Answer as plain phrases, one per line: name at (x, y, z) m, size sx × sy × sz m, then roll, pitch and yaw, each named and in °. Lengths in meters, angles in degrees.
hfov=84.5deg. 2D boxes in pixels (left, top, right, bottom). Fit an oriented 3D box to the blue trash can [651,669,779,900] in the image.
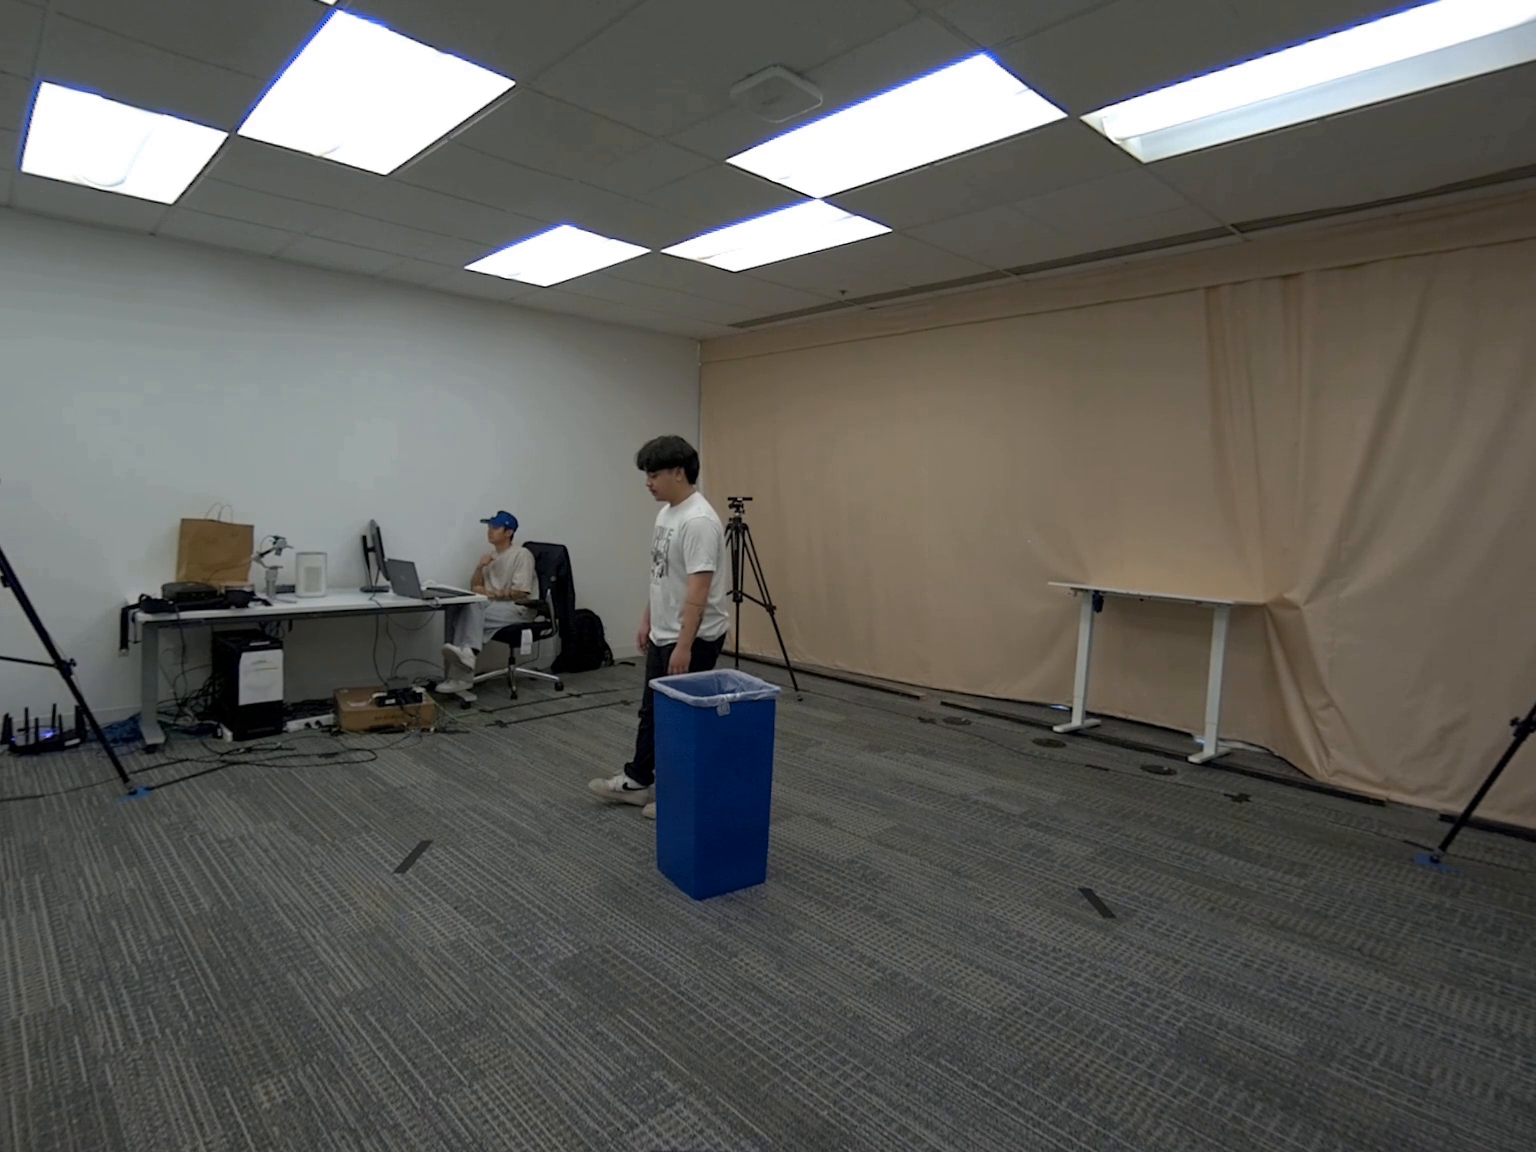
blue trash can at (-0.215, 0.748, 3.095) m, size 0.370 × 0.712 × 0.383 m, roll -1°, pitch 5°, yaw -34°
